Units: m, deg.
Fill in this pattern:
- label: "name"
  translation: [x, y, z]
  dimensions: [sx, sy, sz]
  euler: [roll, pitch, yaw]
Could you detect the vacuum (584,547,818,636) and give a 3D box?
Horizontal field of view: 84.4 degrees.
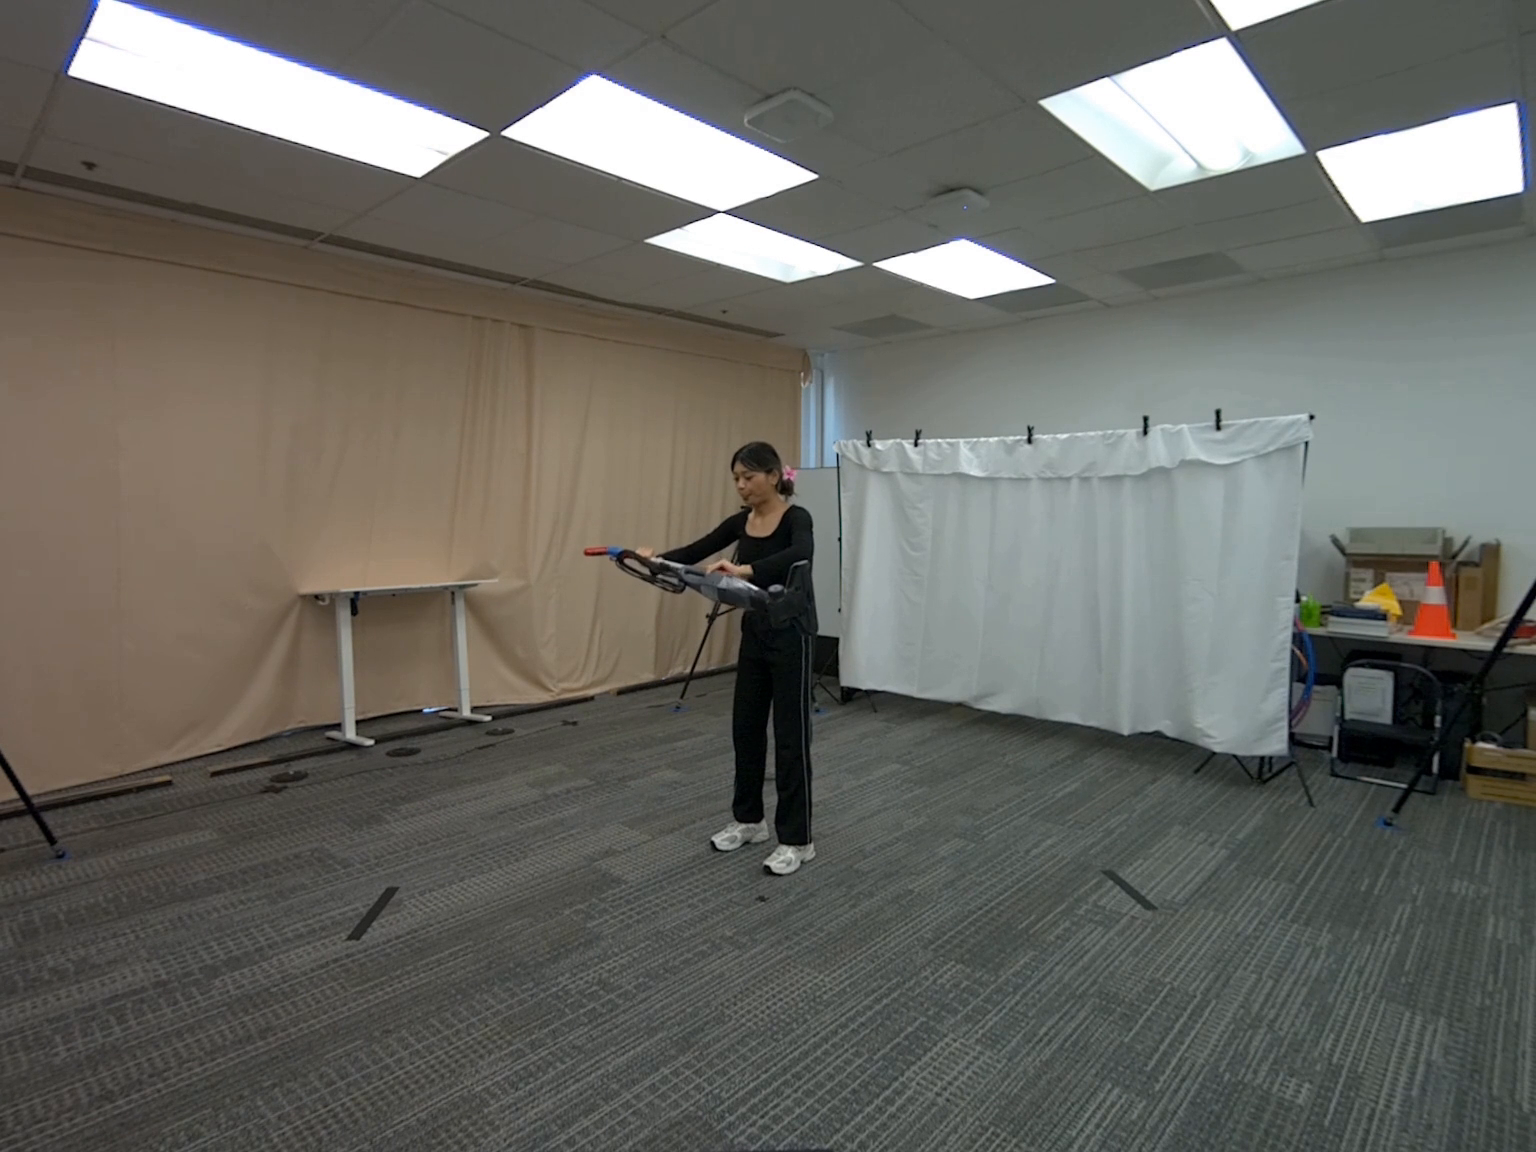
- label: "vacuum"
  translation: [-0.309, 0.004, 2.966]
  dimensions: [1.086, 0.248, 0.142]
  euler: [12, 33, 41]
